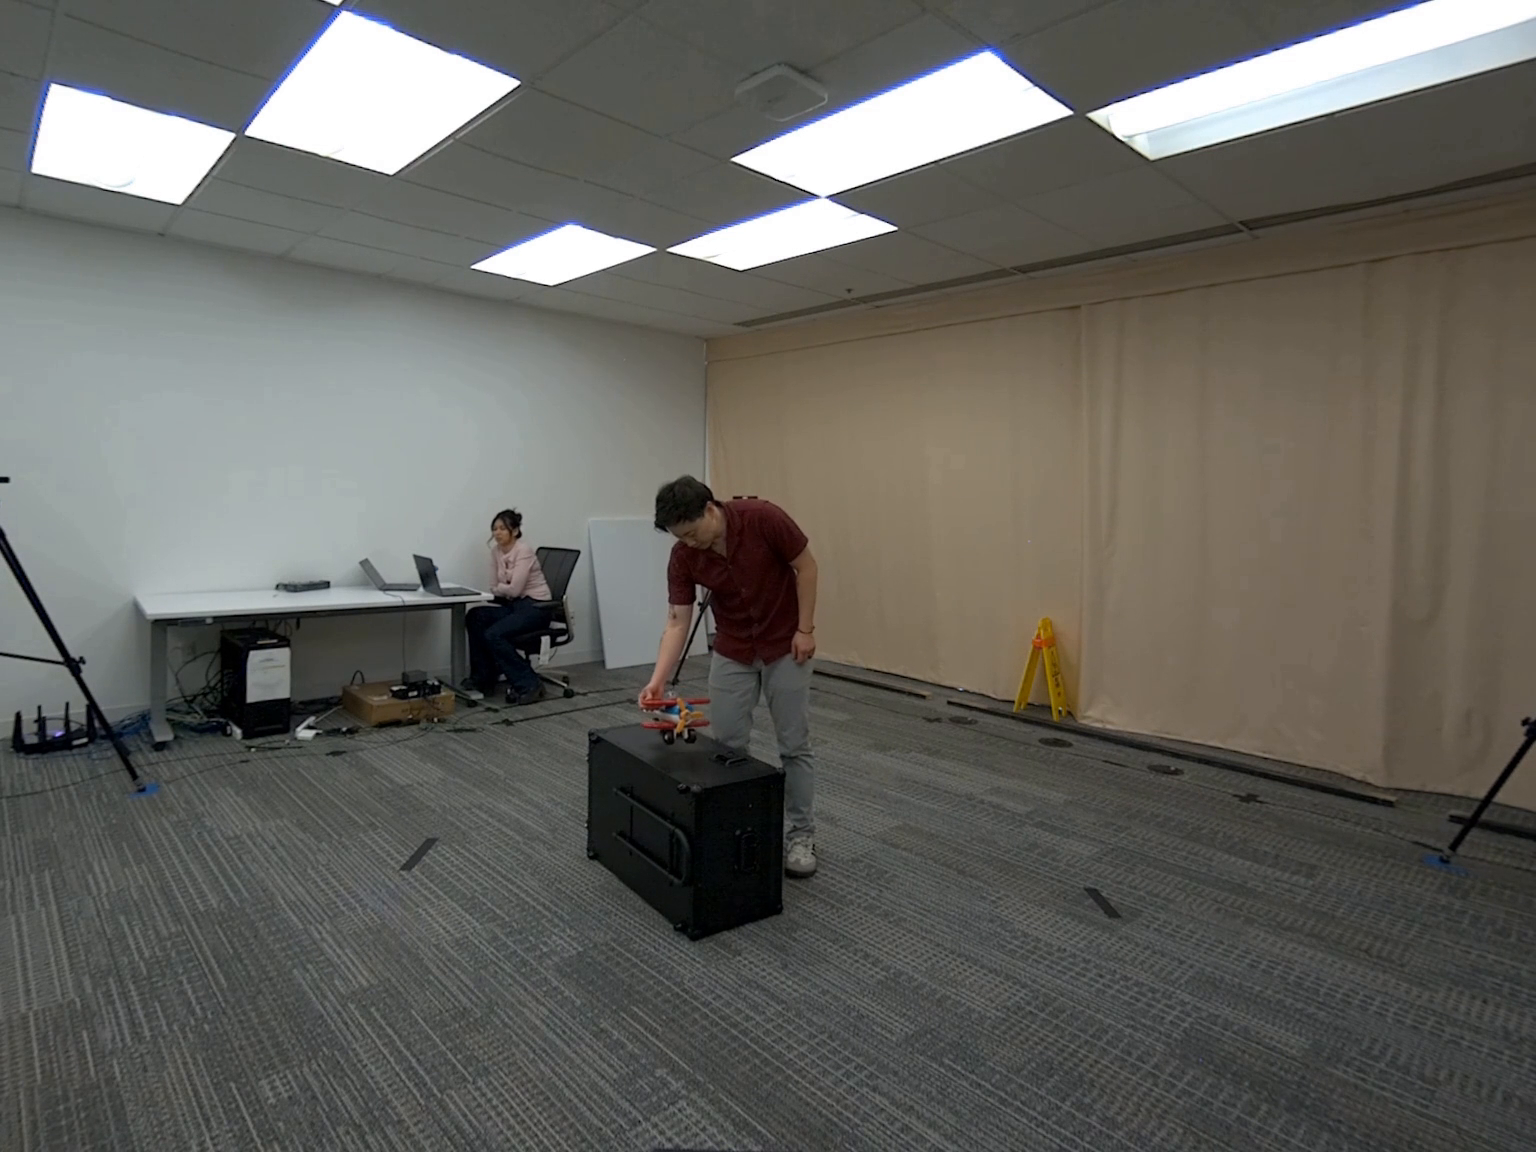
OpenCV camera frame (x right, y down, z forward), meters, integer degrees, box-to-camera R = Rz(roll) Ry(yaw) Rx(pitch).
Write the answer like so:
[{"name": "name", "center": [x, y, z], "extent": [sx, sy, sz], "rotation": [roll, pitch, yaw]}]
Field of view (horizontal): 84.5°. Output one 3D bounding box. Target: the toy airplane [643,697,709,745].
[{"name": "toy airplane", "center": [-0.371, 0.503, 3.032], "extent": [0.266, 0.155, 0.246], "rotation": [13, 11, 33]}]
